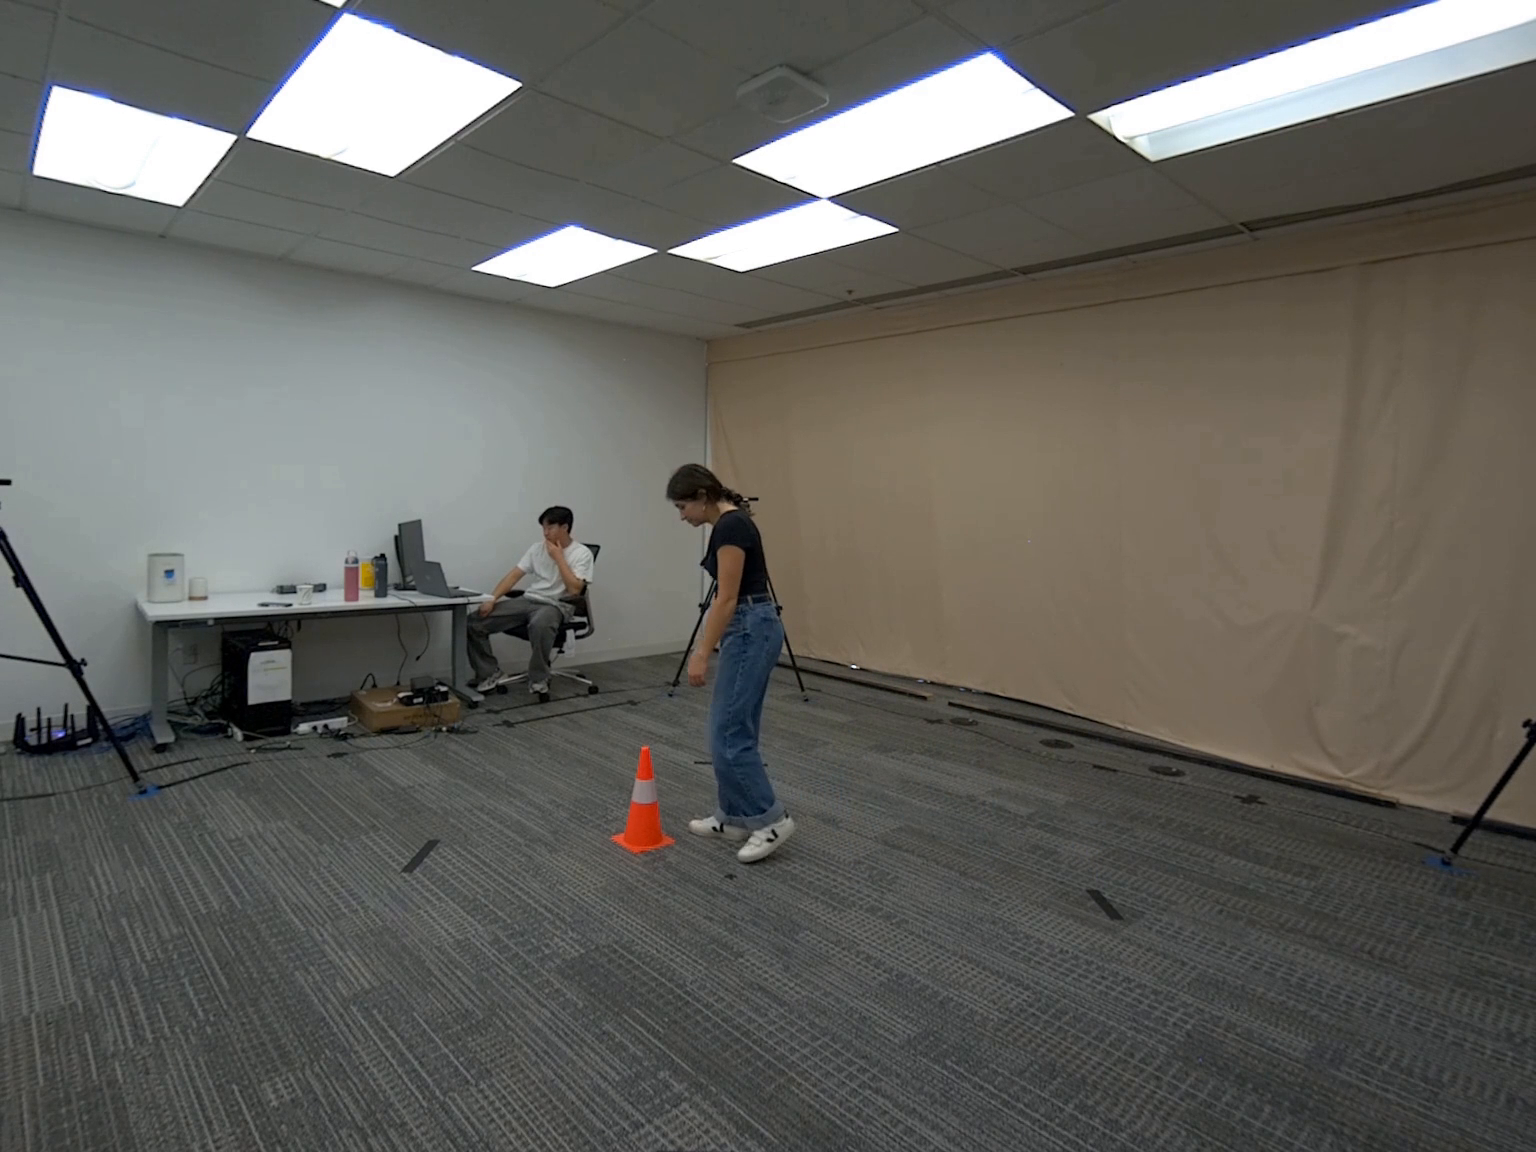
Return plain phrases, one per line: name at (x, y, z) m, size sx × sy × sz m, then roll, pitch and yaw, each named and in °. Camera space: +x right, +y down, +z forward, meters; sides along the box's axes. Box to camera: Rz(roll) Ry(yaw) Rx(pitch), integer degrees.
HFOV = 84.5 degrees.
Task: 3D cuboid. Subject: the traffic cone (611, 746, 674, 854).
traffic cone at (-0.500, 0.880, 3.405) m, size 0.199 × 0.382 × 0.210 m, roll -2°, pitch 6°, yaw -43°
